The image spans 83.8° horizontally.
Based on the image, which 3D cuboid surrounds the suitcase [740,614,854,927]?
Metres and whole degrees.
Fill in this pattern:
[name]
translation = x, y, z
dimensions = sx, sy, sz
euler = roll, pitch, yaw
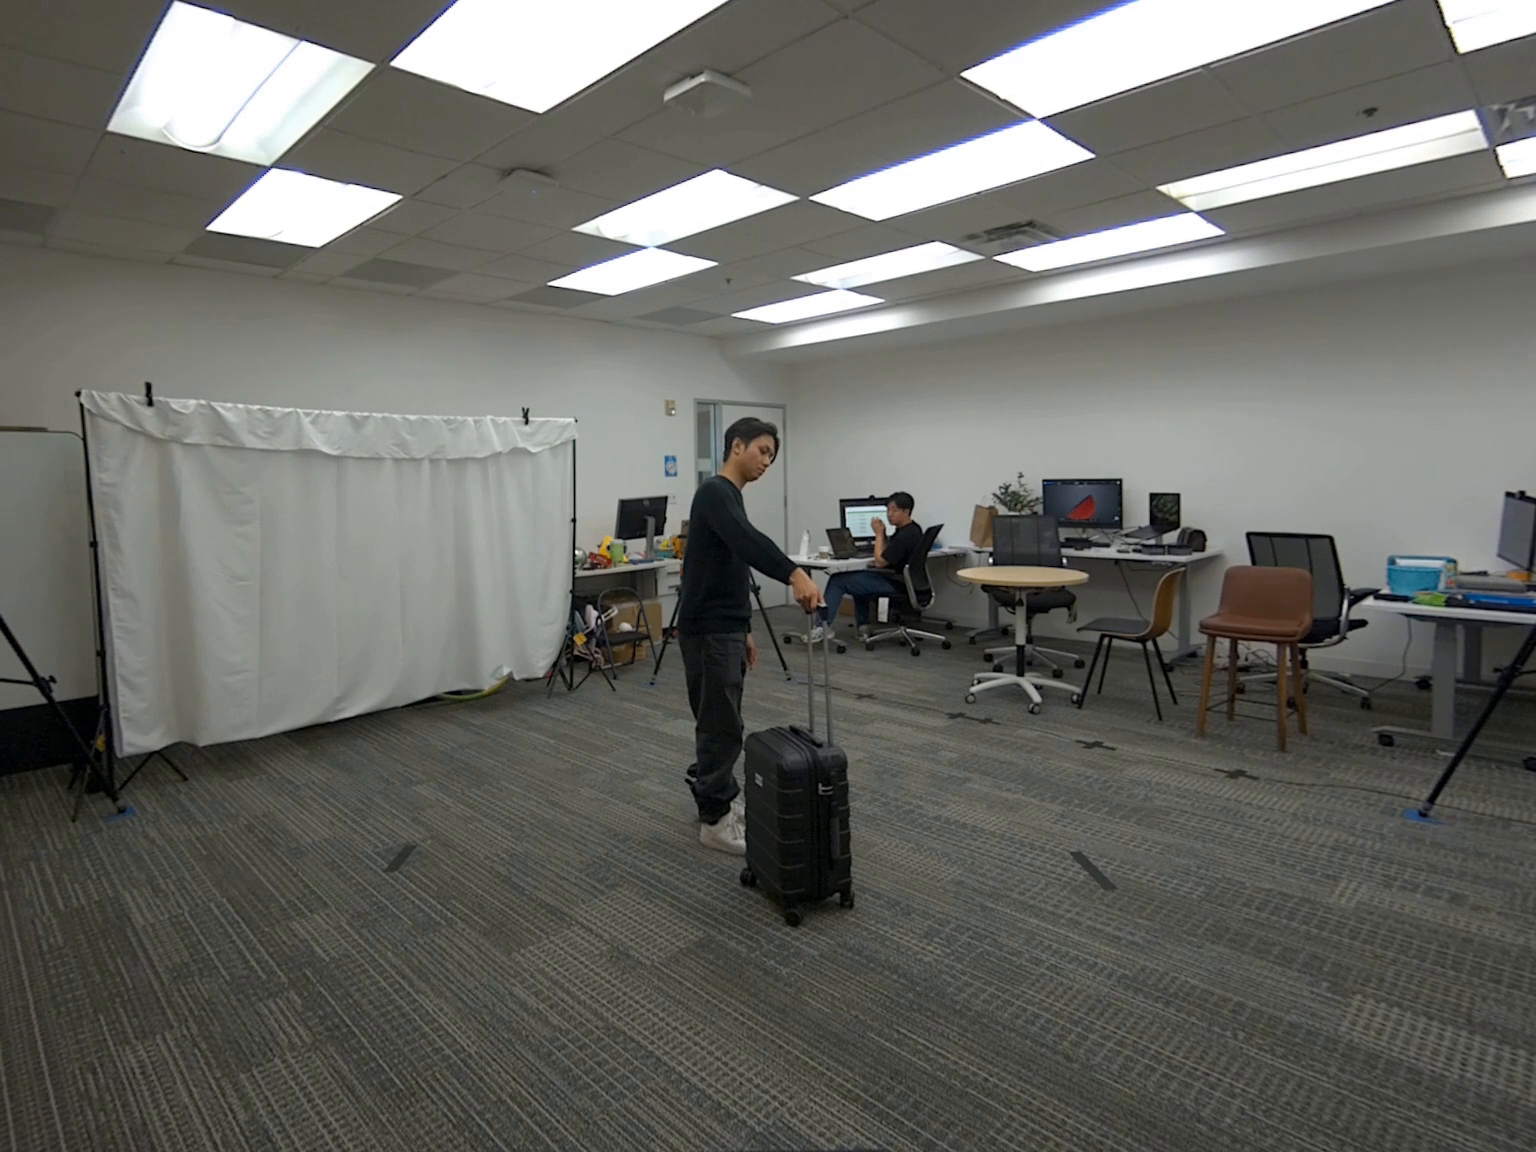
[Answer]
[suitcase]
translation = 0.086, 0.595, 2.820
dimensions = 0.252, 0.974, 0.392
euler = -5, 5, -21
